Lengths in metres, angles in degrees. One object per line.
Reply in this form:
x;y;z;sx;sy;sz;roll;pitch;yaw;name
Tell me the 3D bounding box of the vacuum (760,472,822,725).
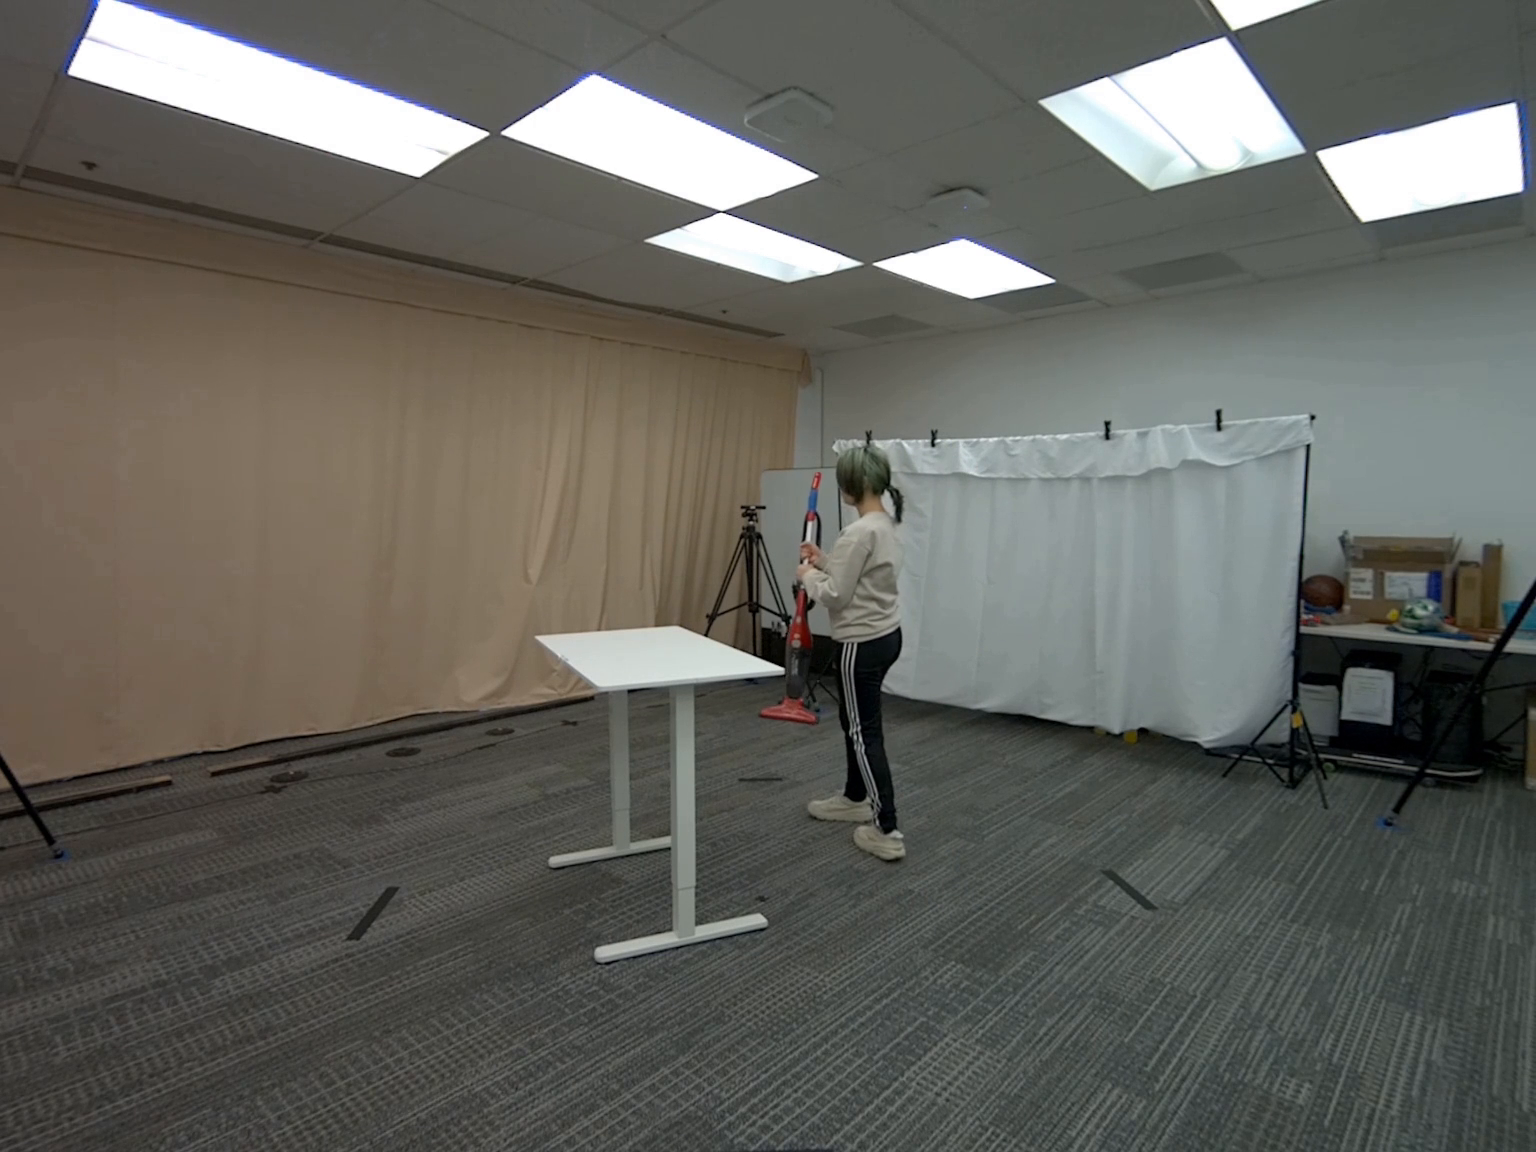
0.169;0.065;3.643;0.259;1.055;0.139;2;-12;26;vacuum
